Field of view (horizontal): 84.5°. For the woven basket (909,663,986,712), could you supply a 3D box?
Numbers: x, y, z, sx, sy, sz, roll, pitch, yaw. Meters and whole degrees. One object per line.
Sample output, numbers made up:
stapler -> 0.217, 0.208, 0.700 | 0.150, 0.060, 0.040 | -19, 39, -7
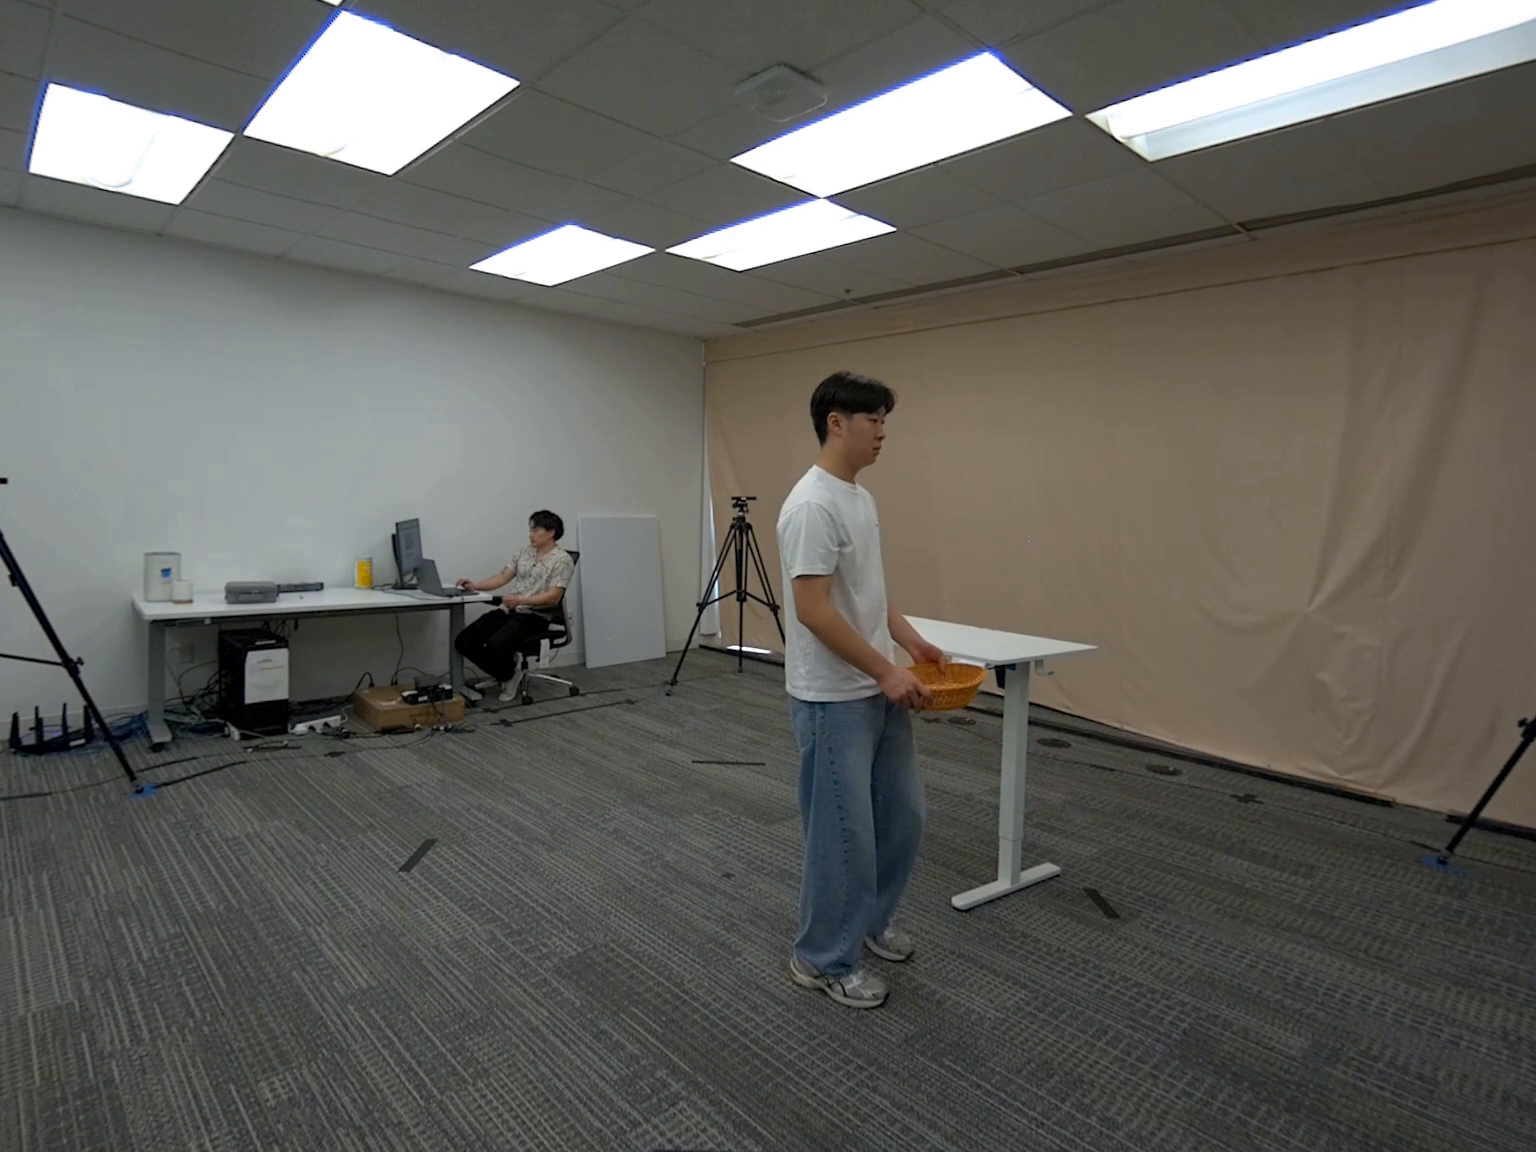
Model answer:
woven basket -> 0.436, 0.308, 2.329 | 0.257, 0.073, 0.344 | 0, 6, 29
